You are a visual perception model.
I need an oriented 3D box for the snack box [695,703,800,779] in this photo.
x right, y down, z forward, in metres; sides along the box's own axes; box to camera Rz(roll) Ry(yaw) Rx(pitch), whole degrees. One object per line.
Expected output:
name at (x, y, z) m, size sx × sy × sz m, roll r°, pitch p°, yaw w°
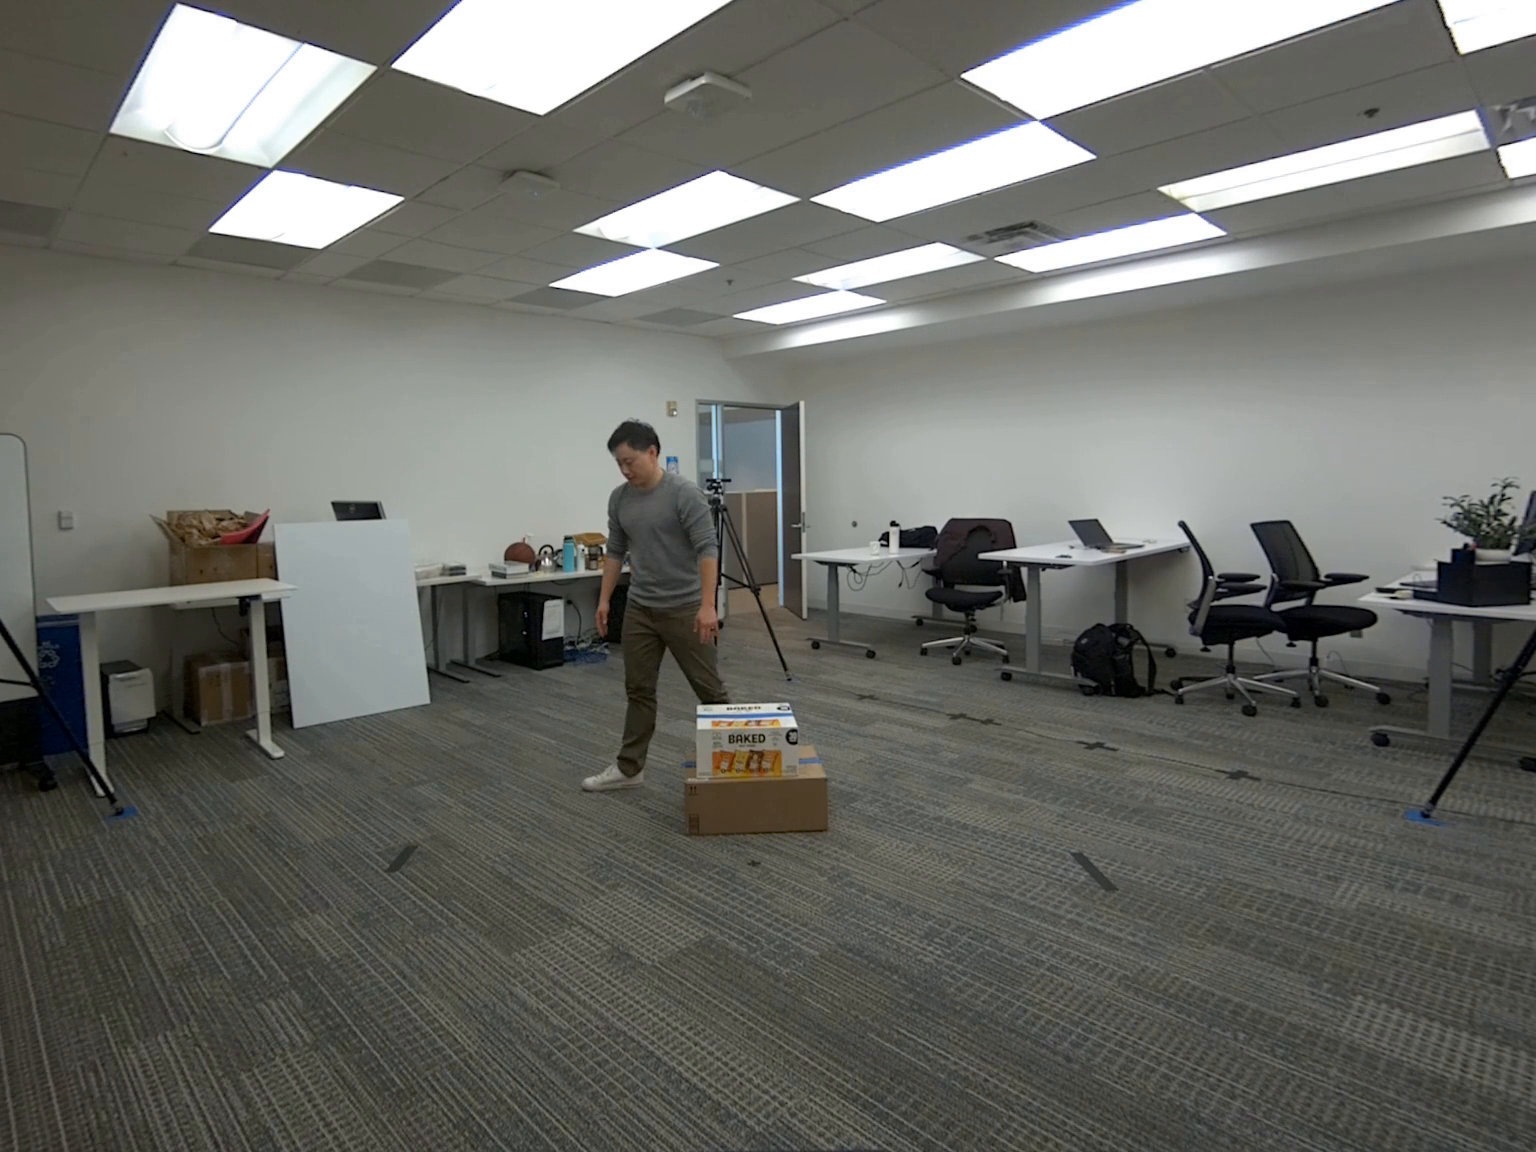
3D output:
snack box at (-0.095, 0.680, 3.549) m, size 0.404 × 0.204 × 0.343 m, roll -1°, pitch 7°, yaw -3°
